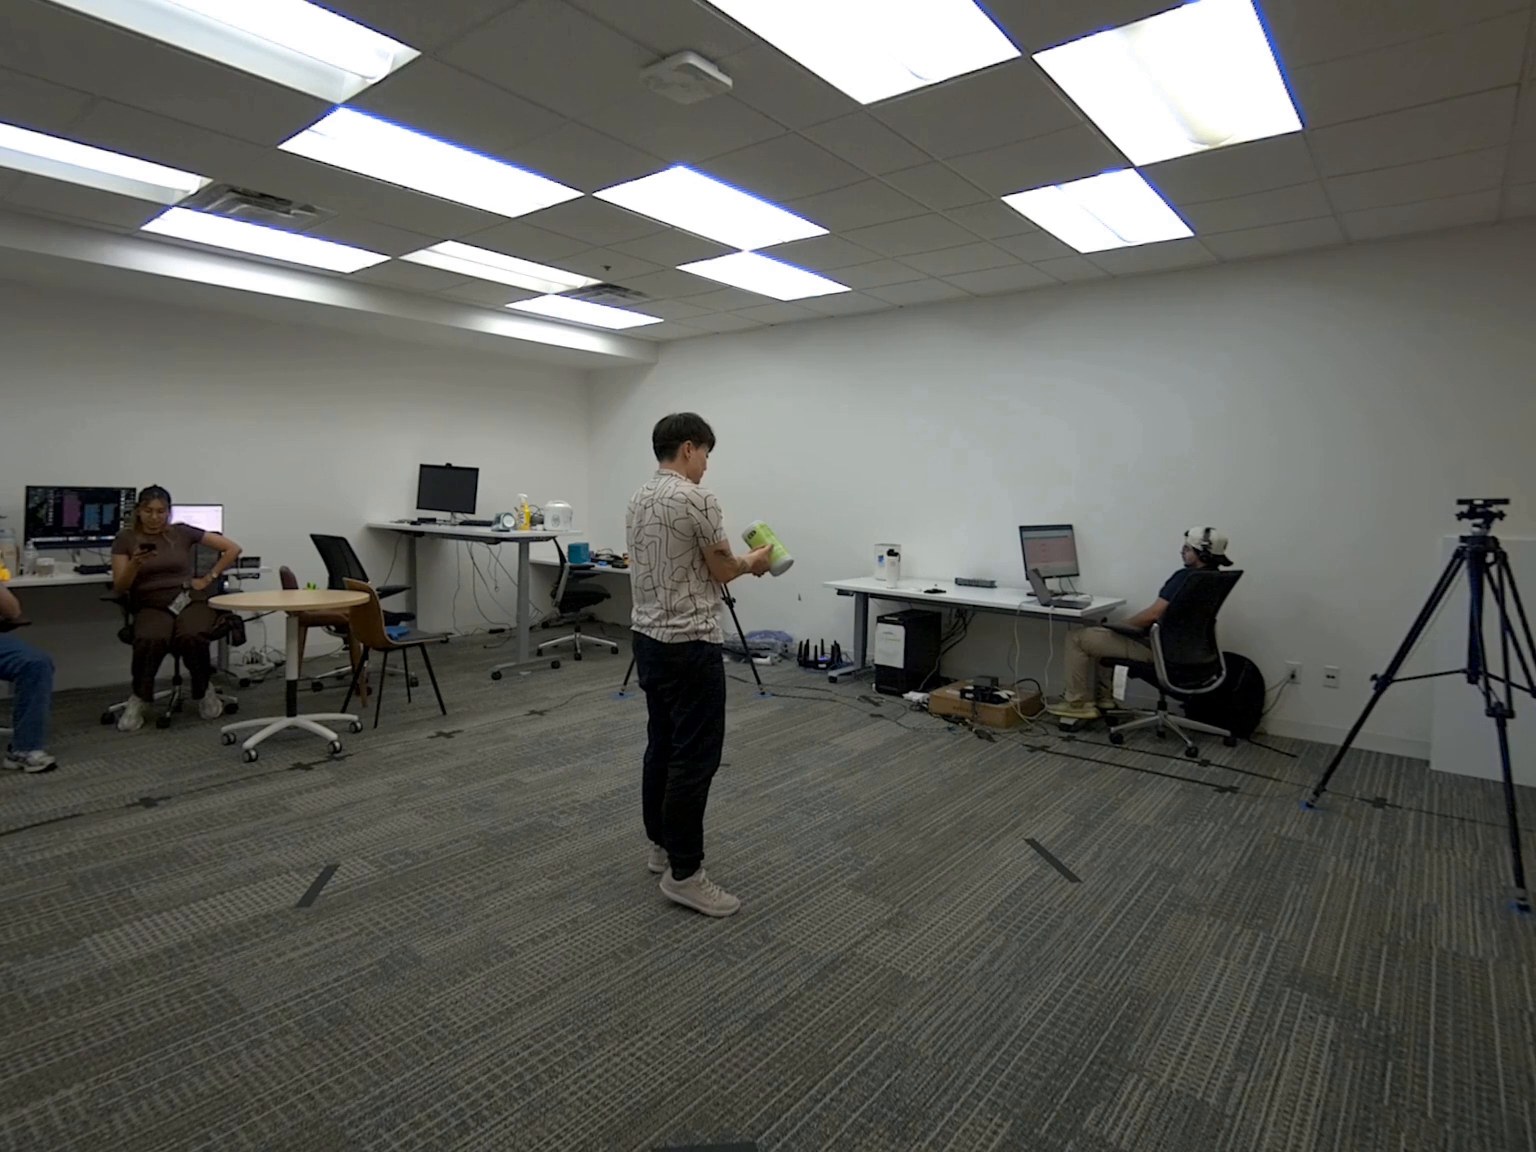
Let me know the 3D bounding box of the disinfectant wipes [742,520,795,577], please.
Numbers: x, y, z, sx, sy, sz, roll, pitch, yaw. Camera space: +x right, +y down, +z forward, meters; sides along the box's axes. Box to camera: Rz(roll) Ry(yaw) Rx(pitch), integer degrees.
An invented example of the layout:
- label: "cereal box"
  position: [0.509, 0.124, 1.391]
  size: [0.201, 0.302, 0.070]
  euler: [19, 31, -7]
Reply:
- label: "disinfectant wipes"
  position: [-0.014, -0.121, 3.406]
  size: [0.117, 0.224, 0.115]
  euler: [-32, -21, -16]
